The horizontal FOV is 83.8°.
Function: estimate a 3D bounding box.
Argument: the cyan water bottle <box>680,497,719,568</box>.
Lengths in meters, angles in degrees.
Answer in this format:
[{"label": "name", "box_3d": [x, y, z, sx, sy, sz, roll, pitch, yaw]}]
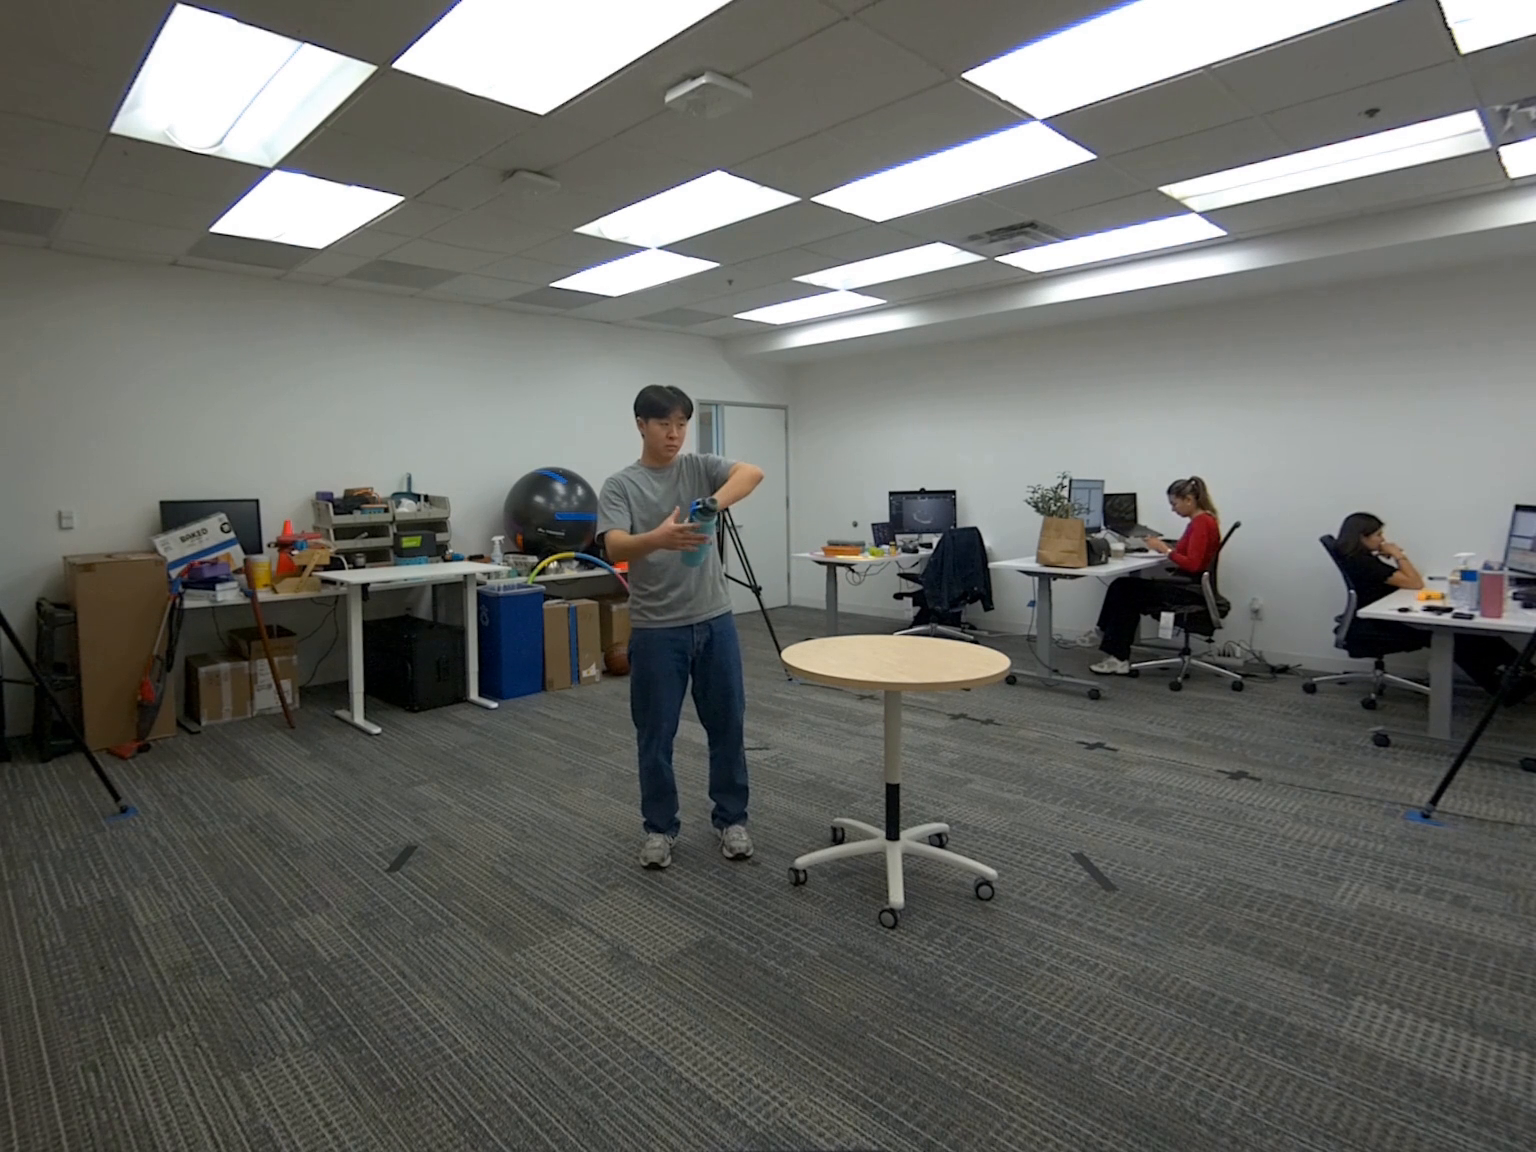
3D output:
[{"label": "cyan water bottle", "box_3d": [-0.228, -0.155, 2.809, 0.091, 0.095, 0.279, 9, -42, -12]}]
